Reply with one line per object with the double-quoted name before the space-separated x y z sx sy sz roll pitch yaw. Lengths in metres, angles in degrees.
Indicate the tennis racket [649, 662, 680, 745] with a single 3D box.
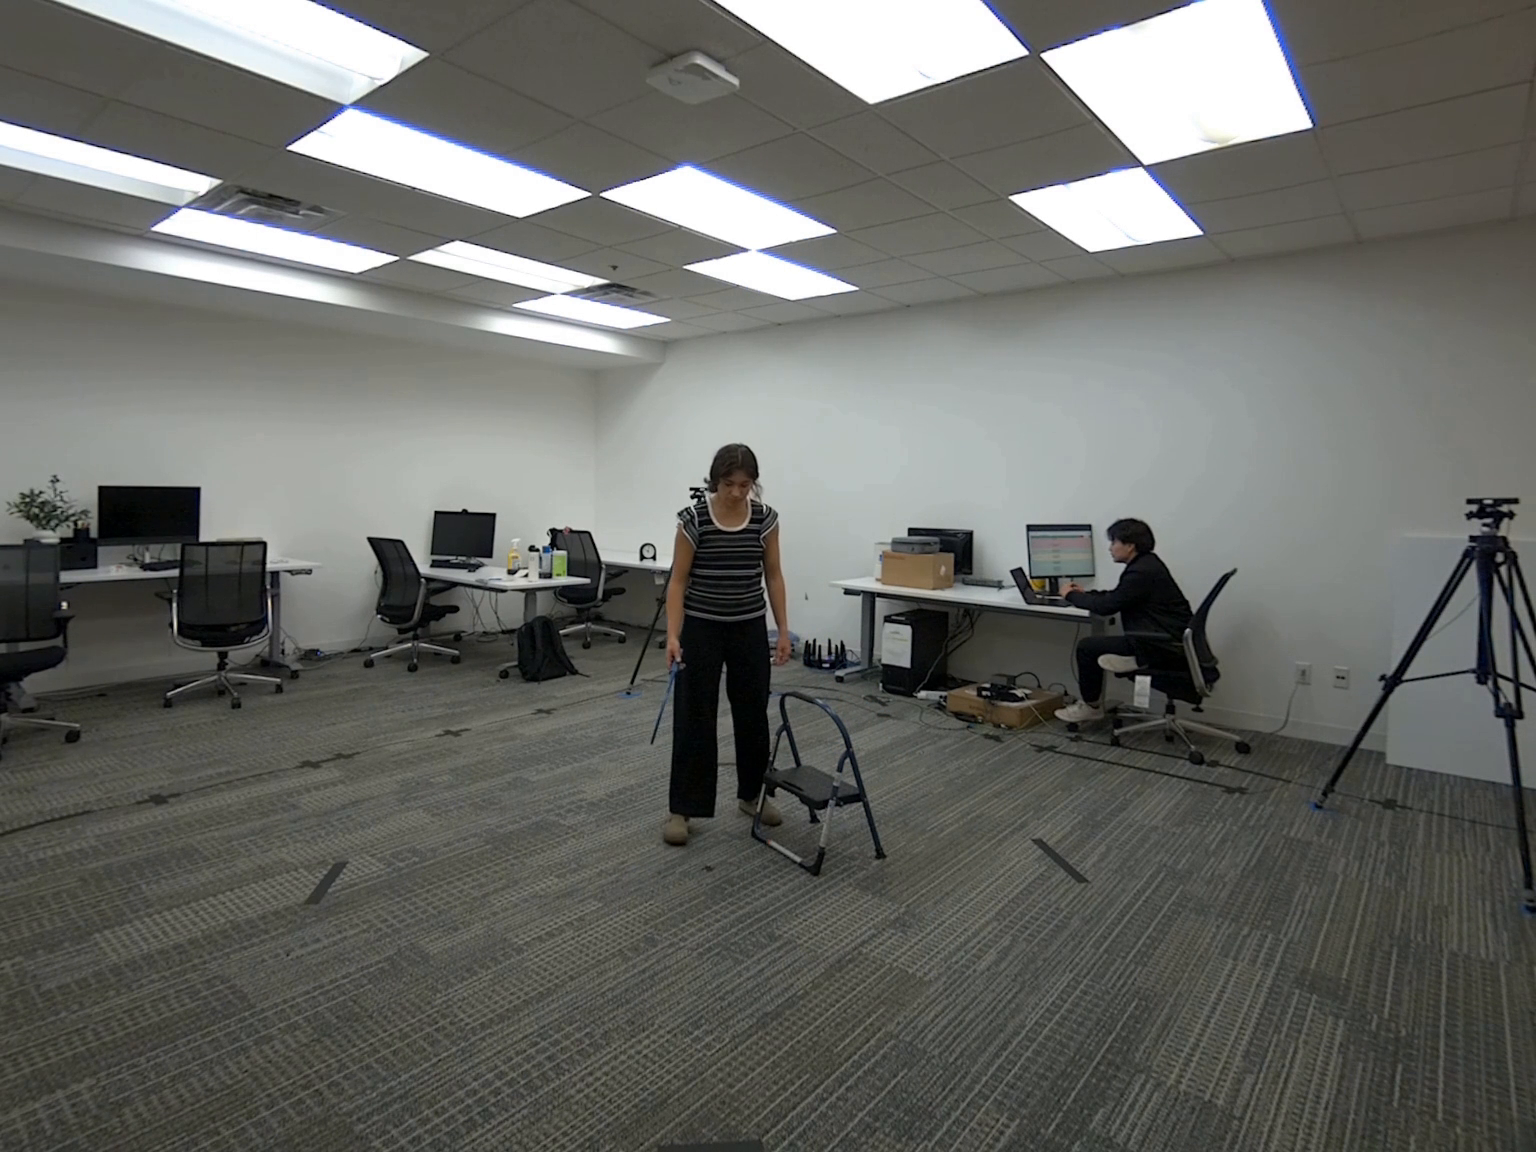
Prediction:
"tennis racket" -0.381 0.438 3.185 0.031 0.210 0.444 14 43 -10
